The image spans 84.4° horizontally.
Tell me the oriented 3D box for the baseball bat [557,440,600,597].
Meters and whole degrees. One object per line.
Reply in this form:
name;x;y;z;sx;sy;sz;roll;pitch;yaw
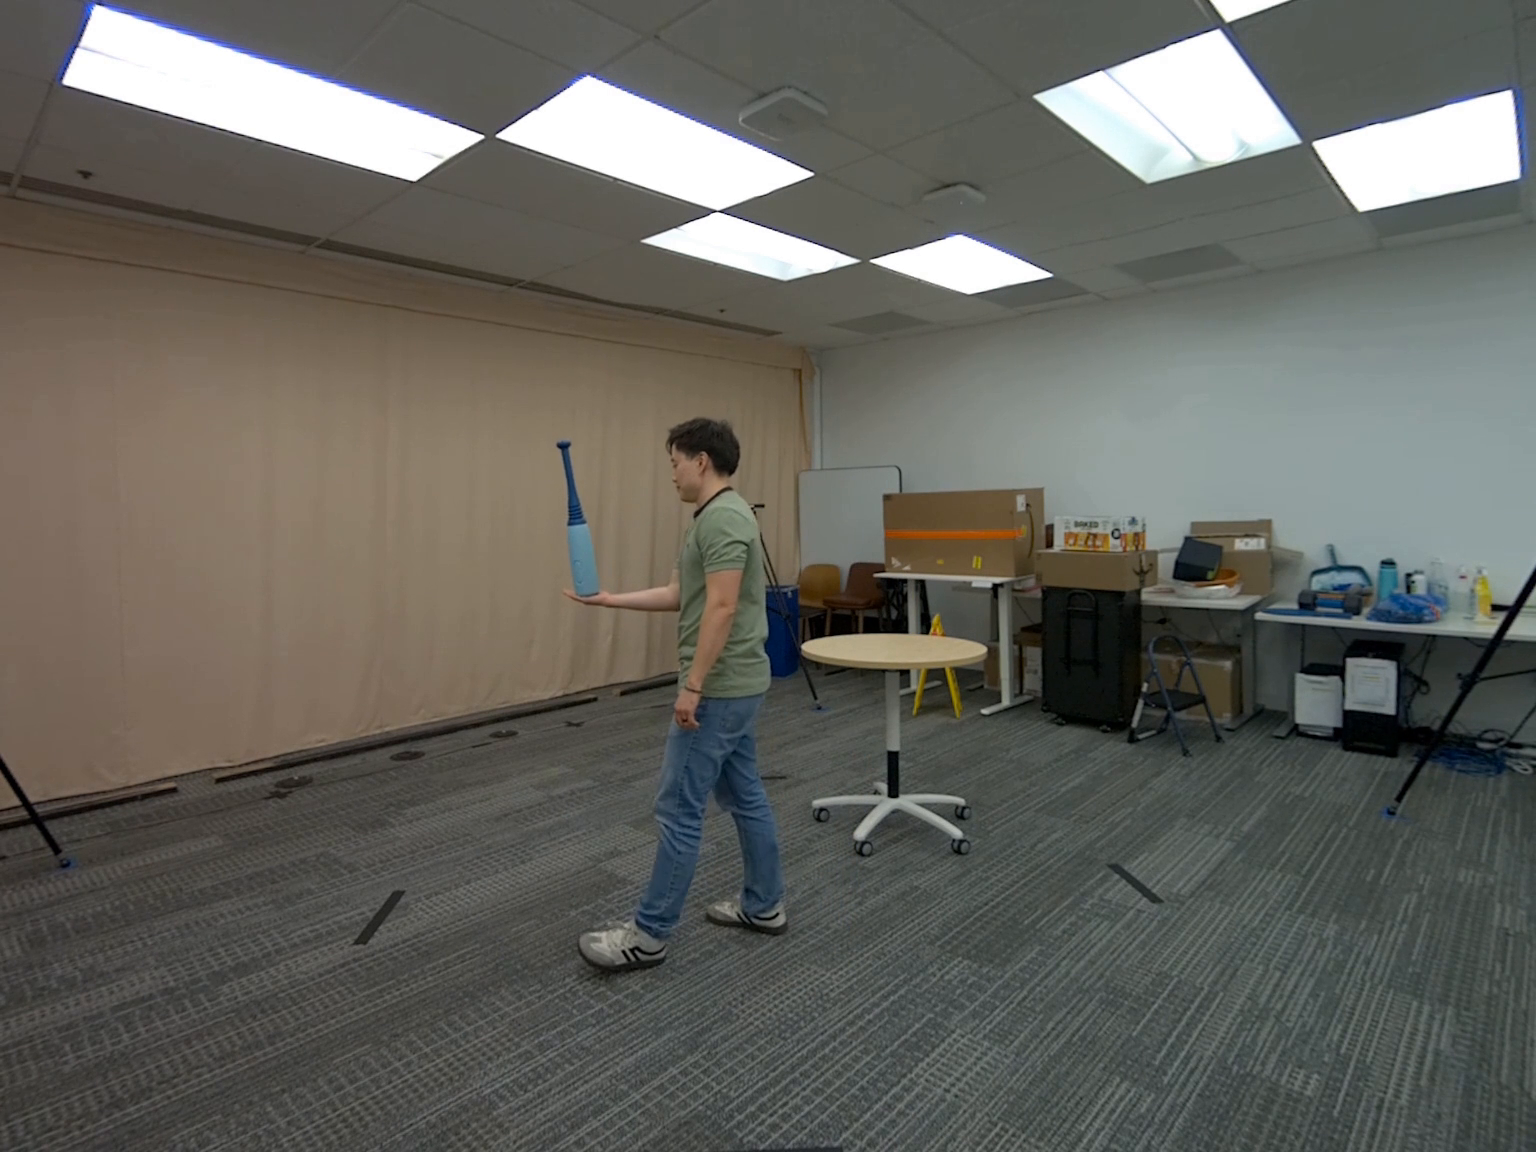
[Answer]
baseball bat;-0.661;-0.198;2.925;0.089;0.541;0.089;-9;4;-1
